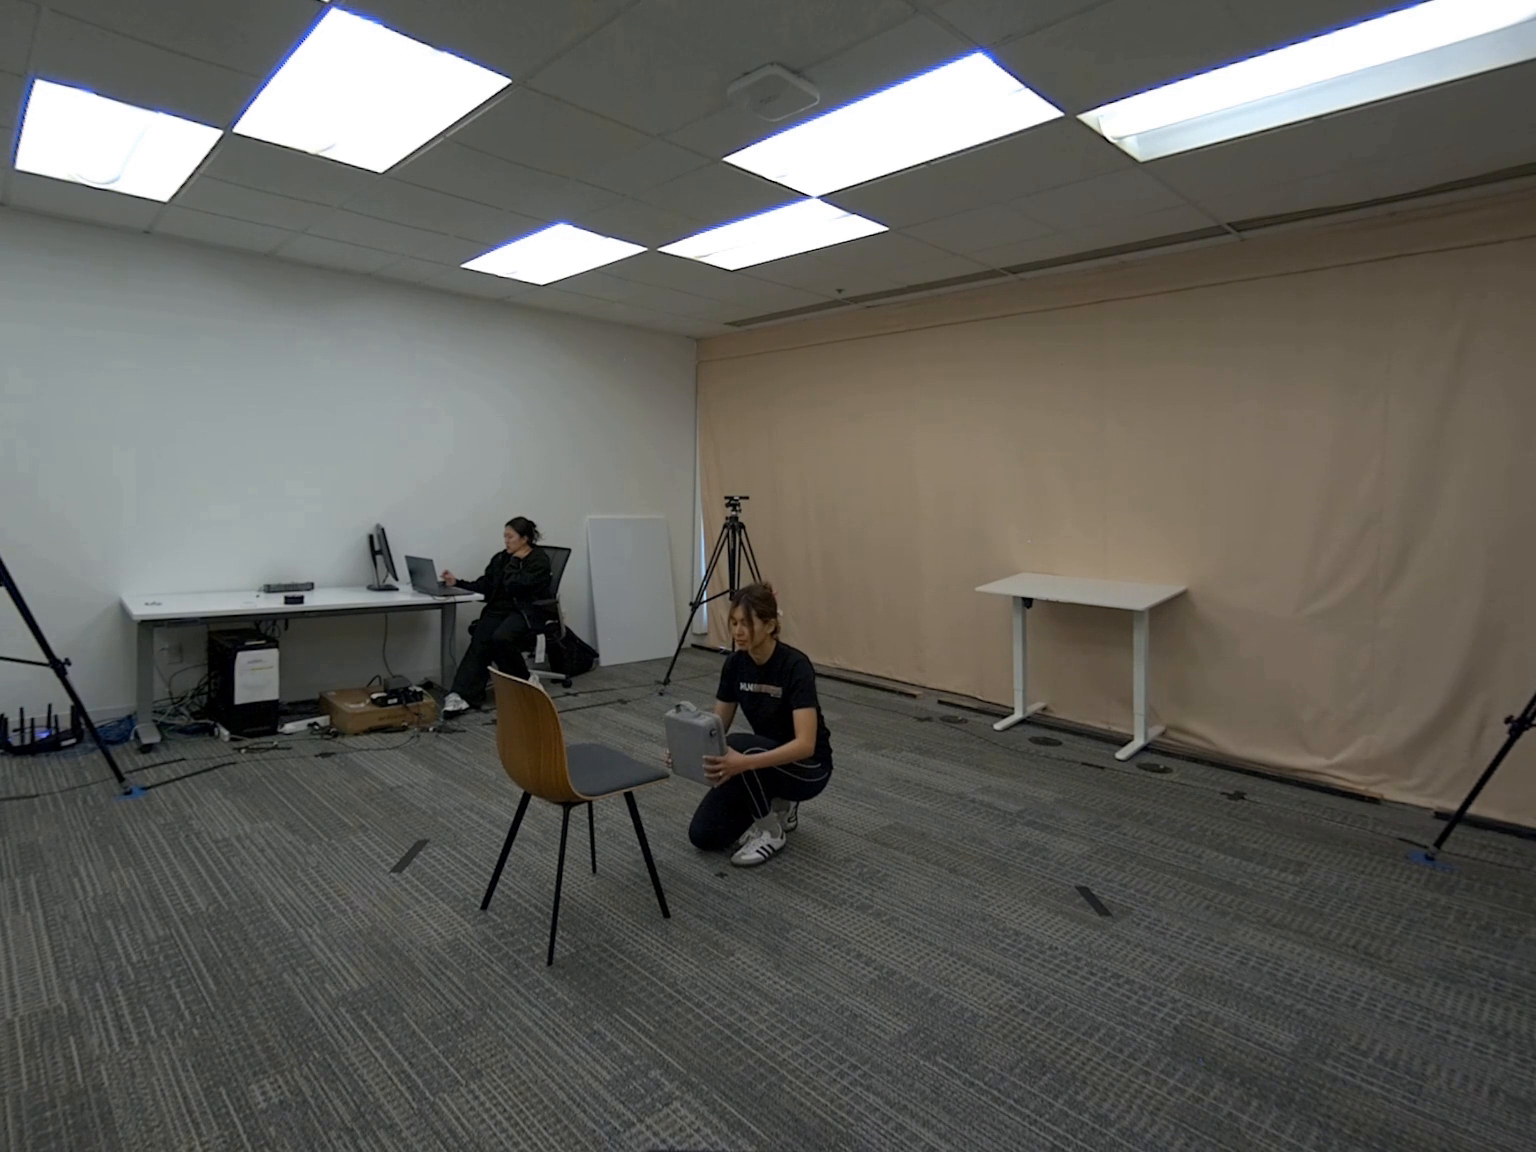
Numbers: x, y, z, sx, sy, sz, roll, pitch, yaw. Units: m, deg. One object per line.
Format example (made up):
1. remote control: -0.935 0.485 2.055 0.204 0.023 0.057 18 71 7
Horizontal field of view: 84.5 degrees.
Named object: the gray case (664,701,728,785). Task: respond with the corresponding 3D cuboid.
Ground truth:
1. gray case: -0.261 0.614 3.094 0.102 0.259 0.263 -15 10 -41
